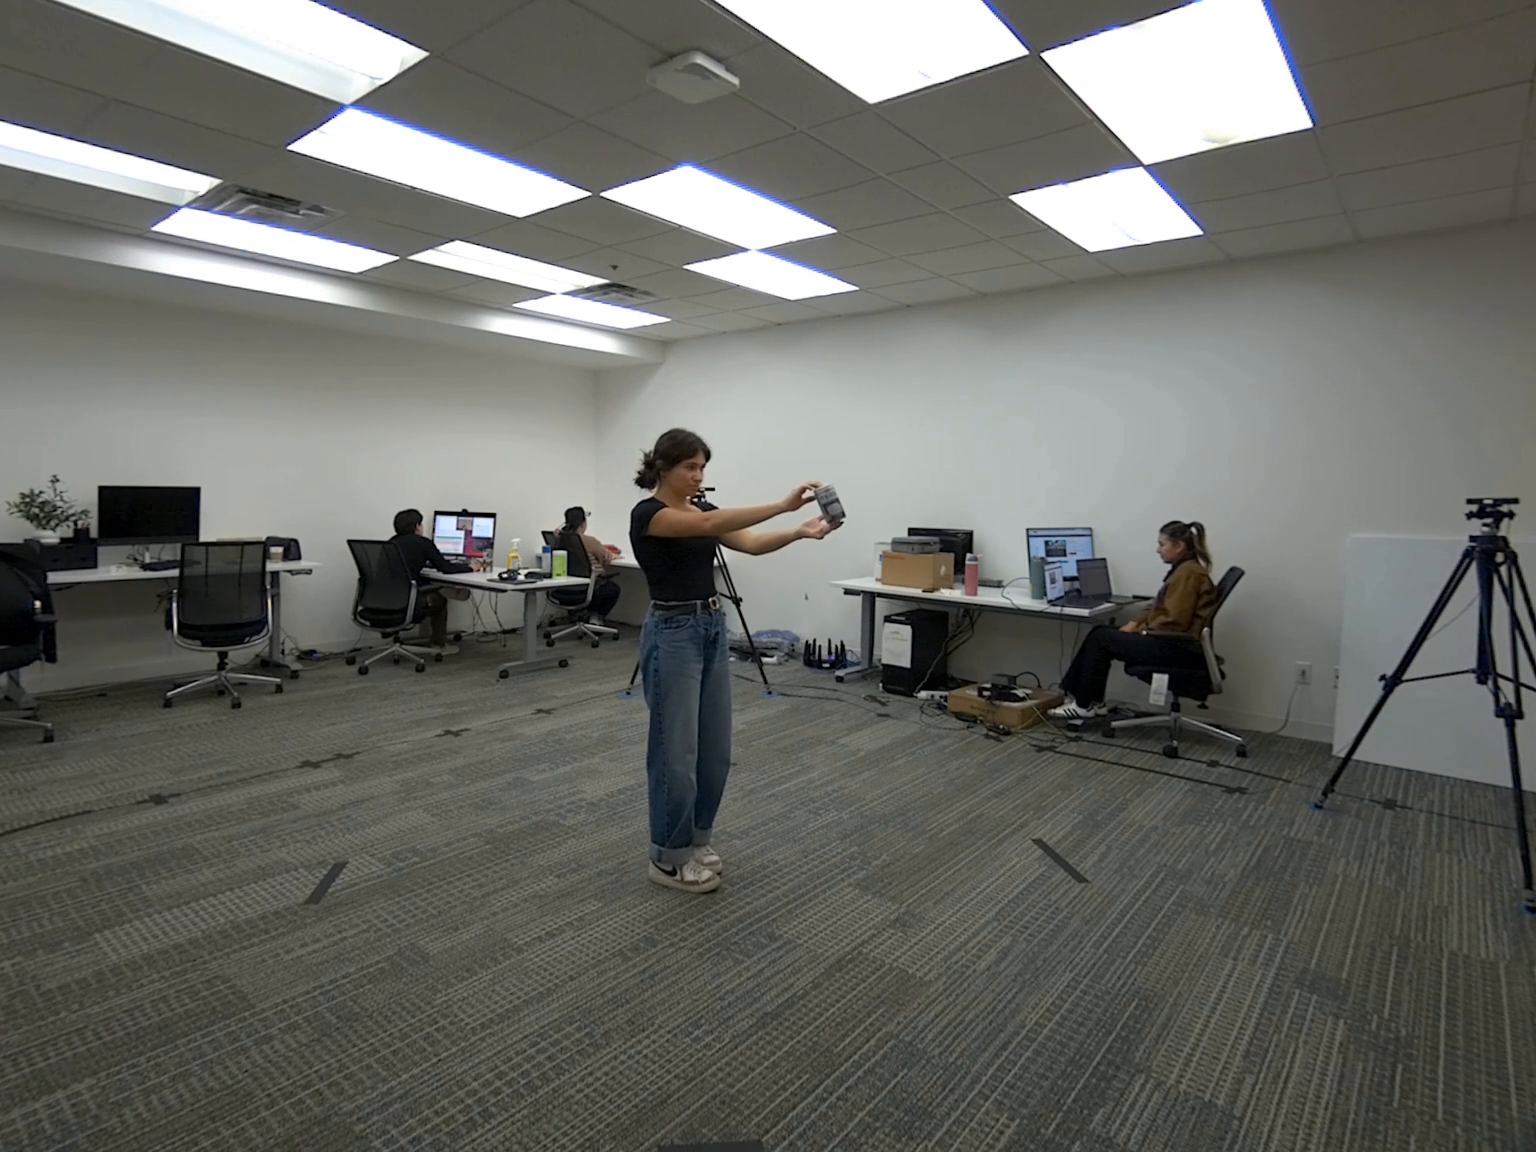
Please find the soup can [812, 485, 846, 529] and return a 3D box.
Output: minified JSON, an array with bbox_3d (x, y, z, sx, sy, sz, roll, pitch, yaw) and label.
[{"bbox_3d":[0.184,-0.230,2.672,0.067,0.121,0.067,-18,1,-1],"label":"soup can"}]
